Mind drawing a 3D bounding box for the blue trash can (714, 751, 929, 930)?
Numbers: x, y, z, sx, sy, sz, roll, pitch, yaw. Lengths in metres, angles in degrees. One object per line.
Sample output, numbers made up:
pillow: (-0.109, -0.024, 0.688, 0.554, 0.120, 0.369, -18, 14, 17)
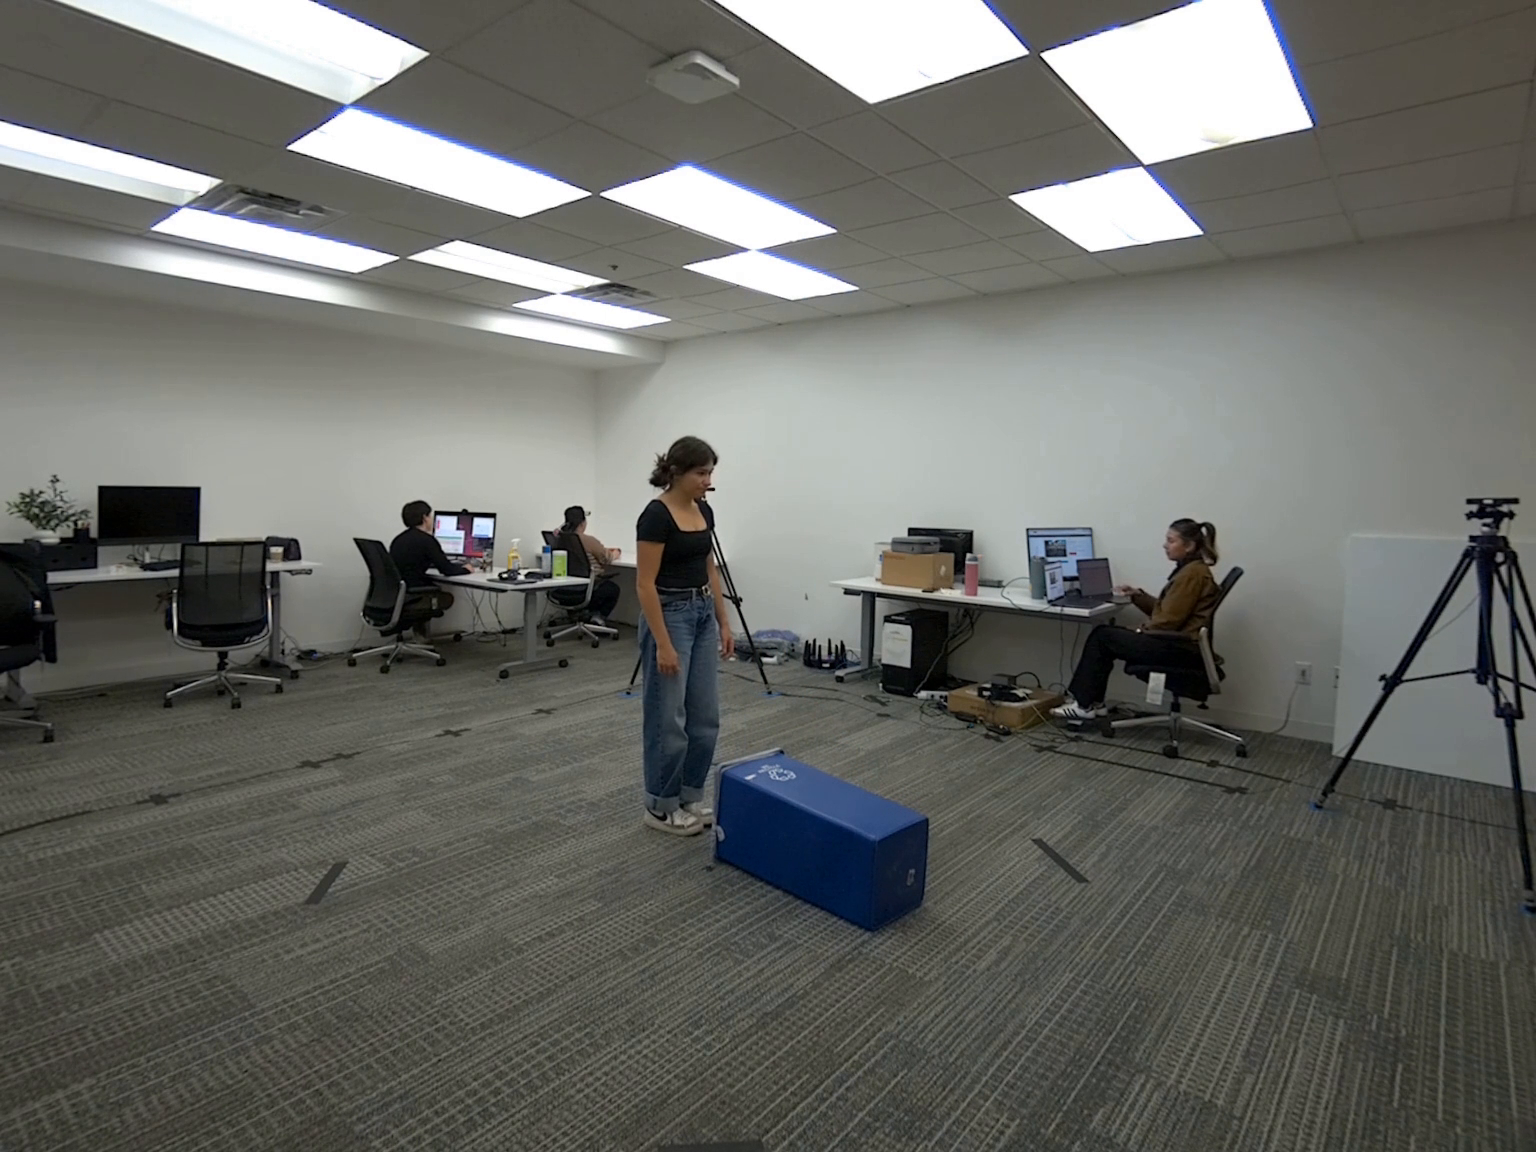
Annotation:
blue trash can: (0.172, 0.917, 3.019, 0.739, 0.376, 0.363, 10, 9, 44)
